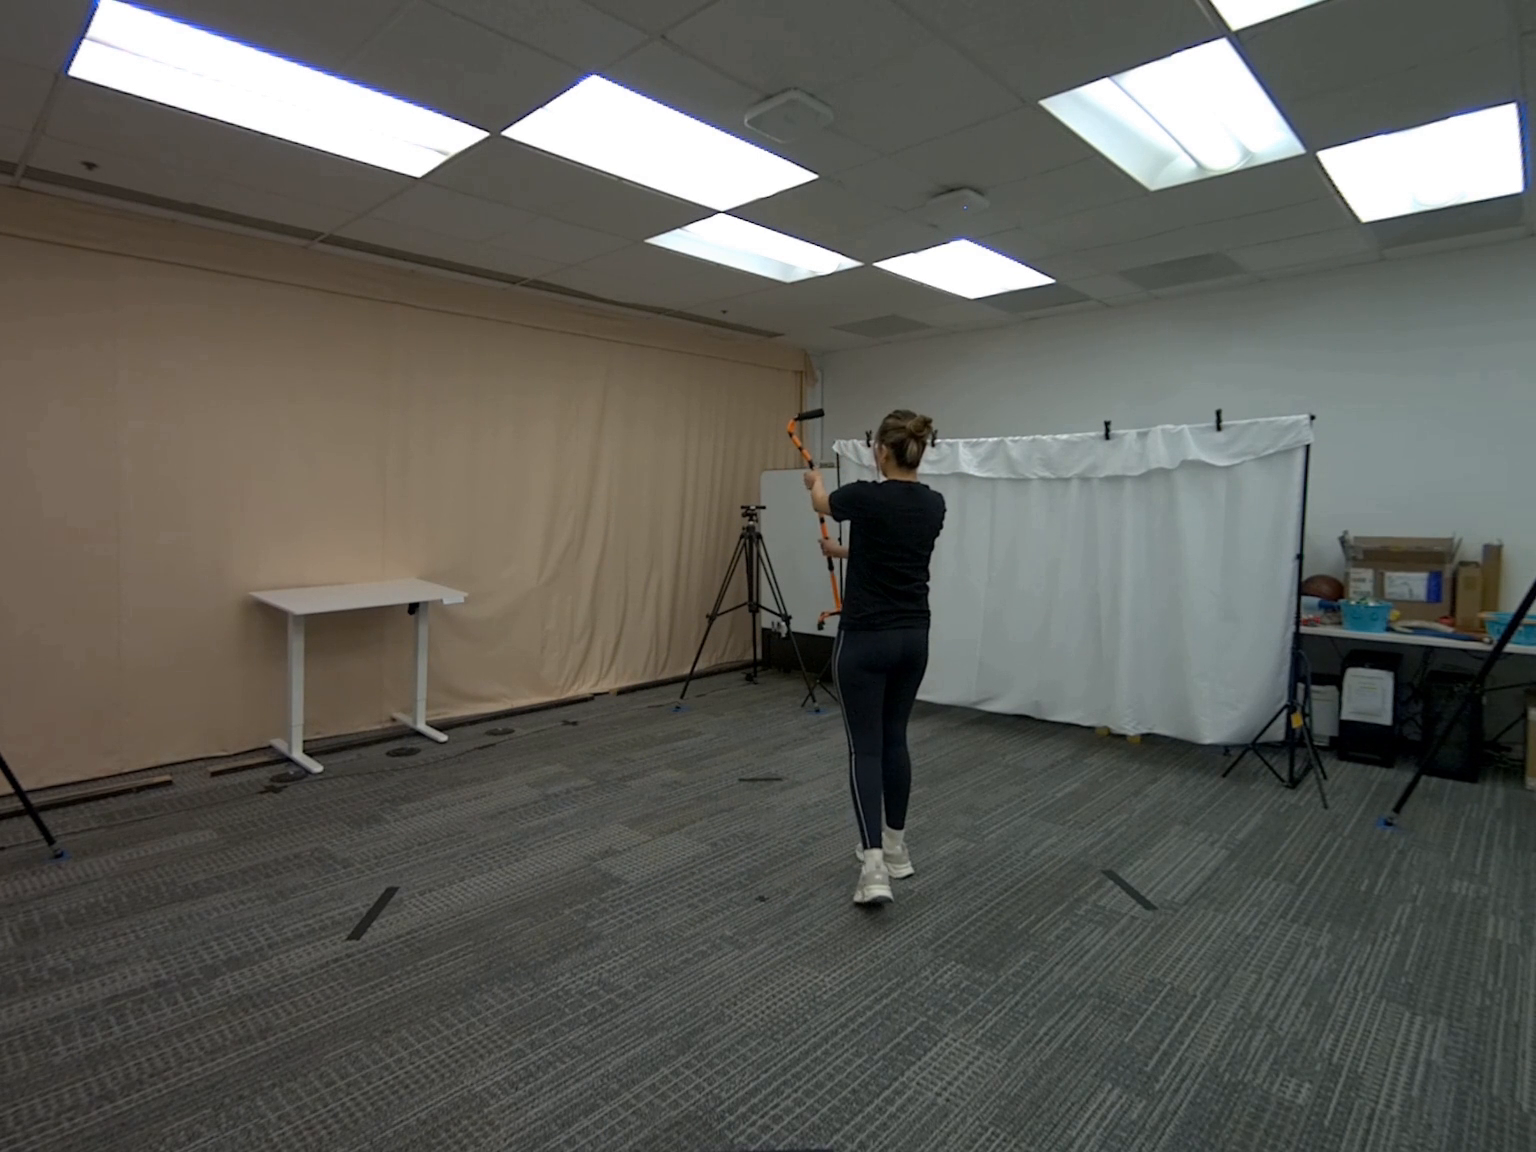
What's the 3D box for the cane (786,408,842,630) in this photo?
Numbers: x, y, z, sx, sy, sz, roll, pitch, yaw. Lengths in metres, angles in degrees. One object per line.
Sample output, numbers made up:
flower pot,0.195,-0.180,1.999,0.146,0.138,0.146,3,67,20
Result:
cane,0.221,-0.244,3.566,0.209,0.906,0.150,-7,2,12
